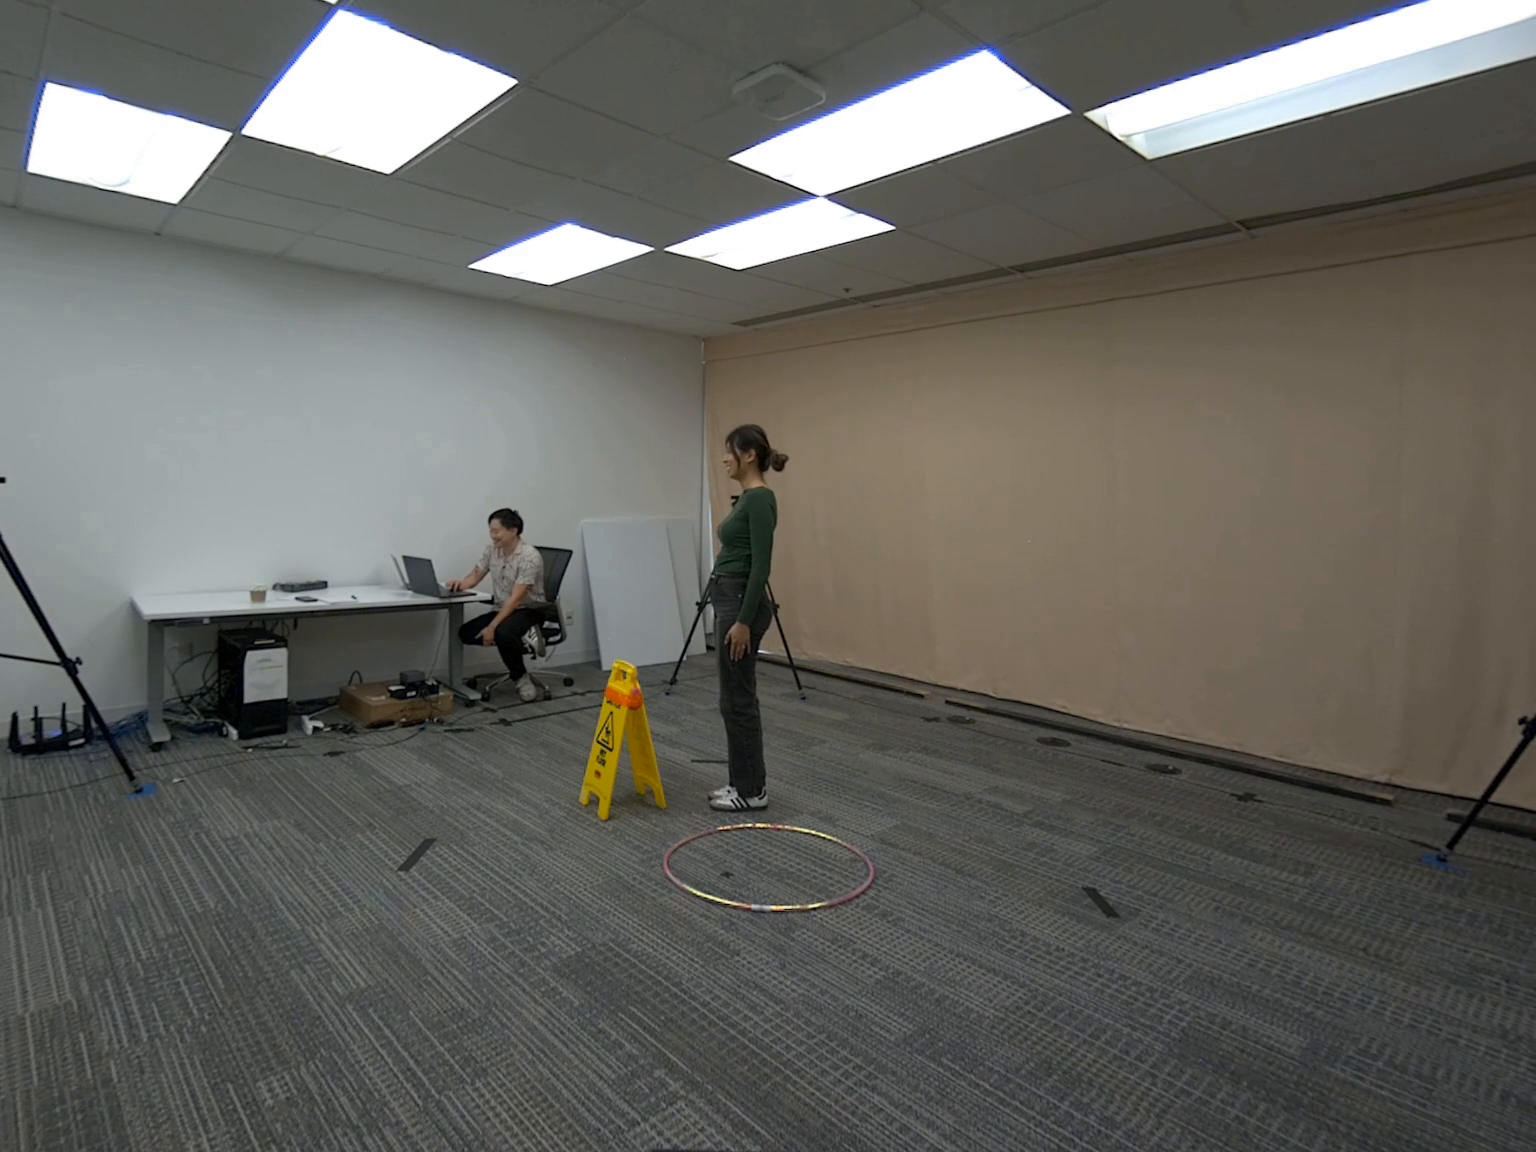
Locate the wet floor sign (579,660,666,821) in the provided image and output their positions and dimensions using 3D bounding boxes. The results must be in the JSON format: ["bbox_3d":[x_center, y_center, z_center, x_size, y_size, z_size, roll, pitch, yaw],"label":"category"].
[{"bbox_3d":[-0.652,0.709,3.766,0.283,0.644,0.289,0,4,-35],"label":"wet floor sign"}]
